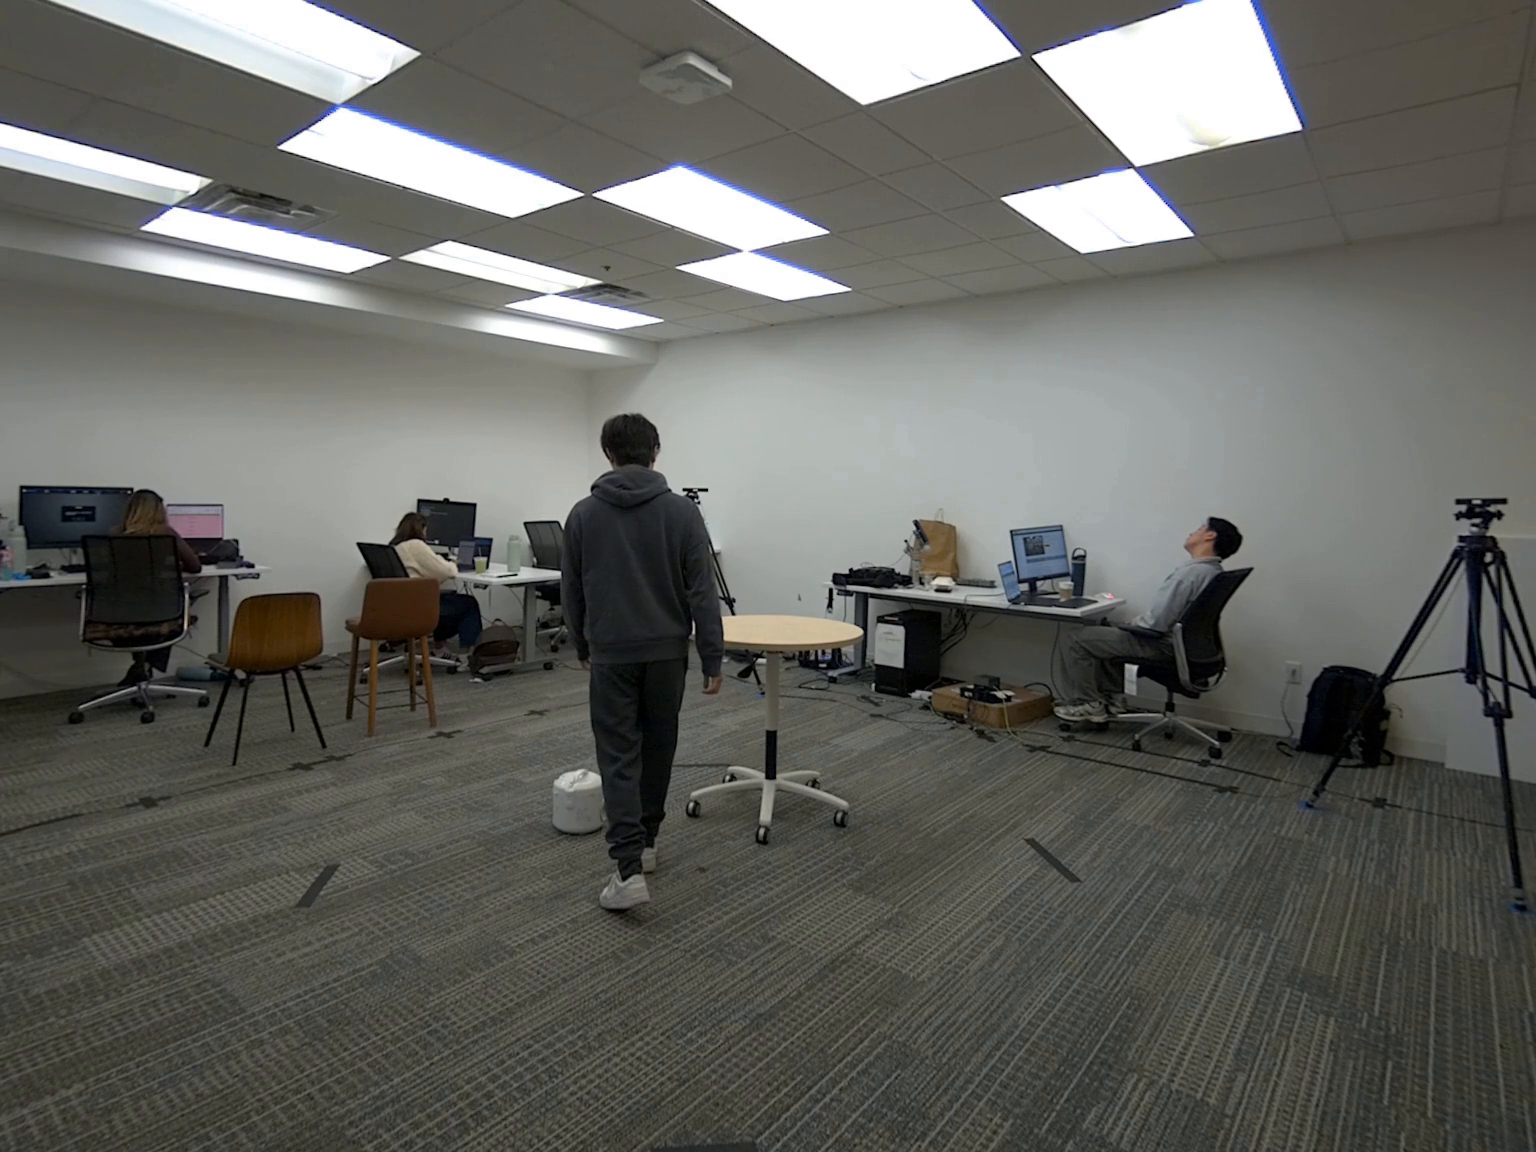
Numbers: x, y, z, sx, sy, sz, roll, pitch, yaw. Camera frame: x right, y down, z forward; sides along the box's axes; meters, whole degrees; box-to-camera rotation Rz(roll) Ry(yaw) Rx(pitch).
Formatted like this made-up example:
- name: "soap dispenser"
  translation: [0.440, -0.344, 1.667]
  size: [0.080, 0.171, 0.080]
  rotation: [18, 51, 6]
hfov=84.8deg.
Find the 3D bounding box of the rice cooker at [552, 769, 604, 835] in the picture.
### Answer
- name: "rice cooker"
  translation: [-0.783, 0.908, 3.478]
  size: [0.220, 0.232, 0.218]
  rotation: [1, 4, 12]
